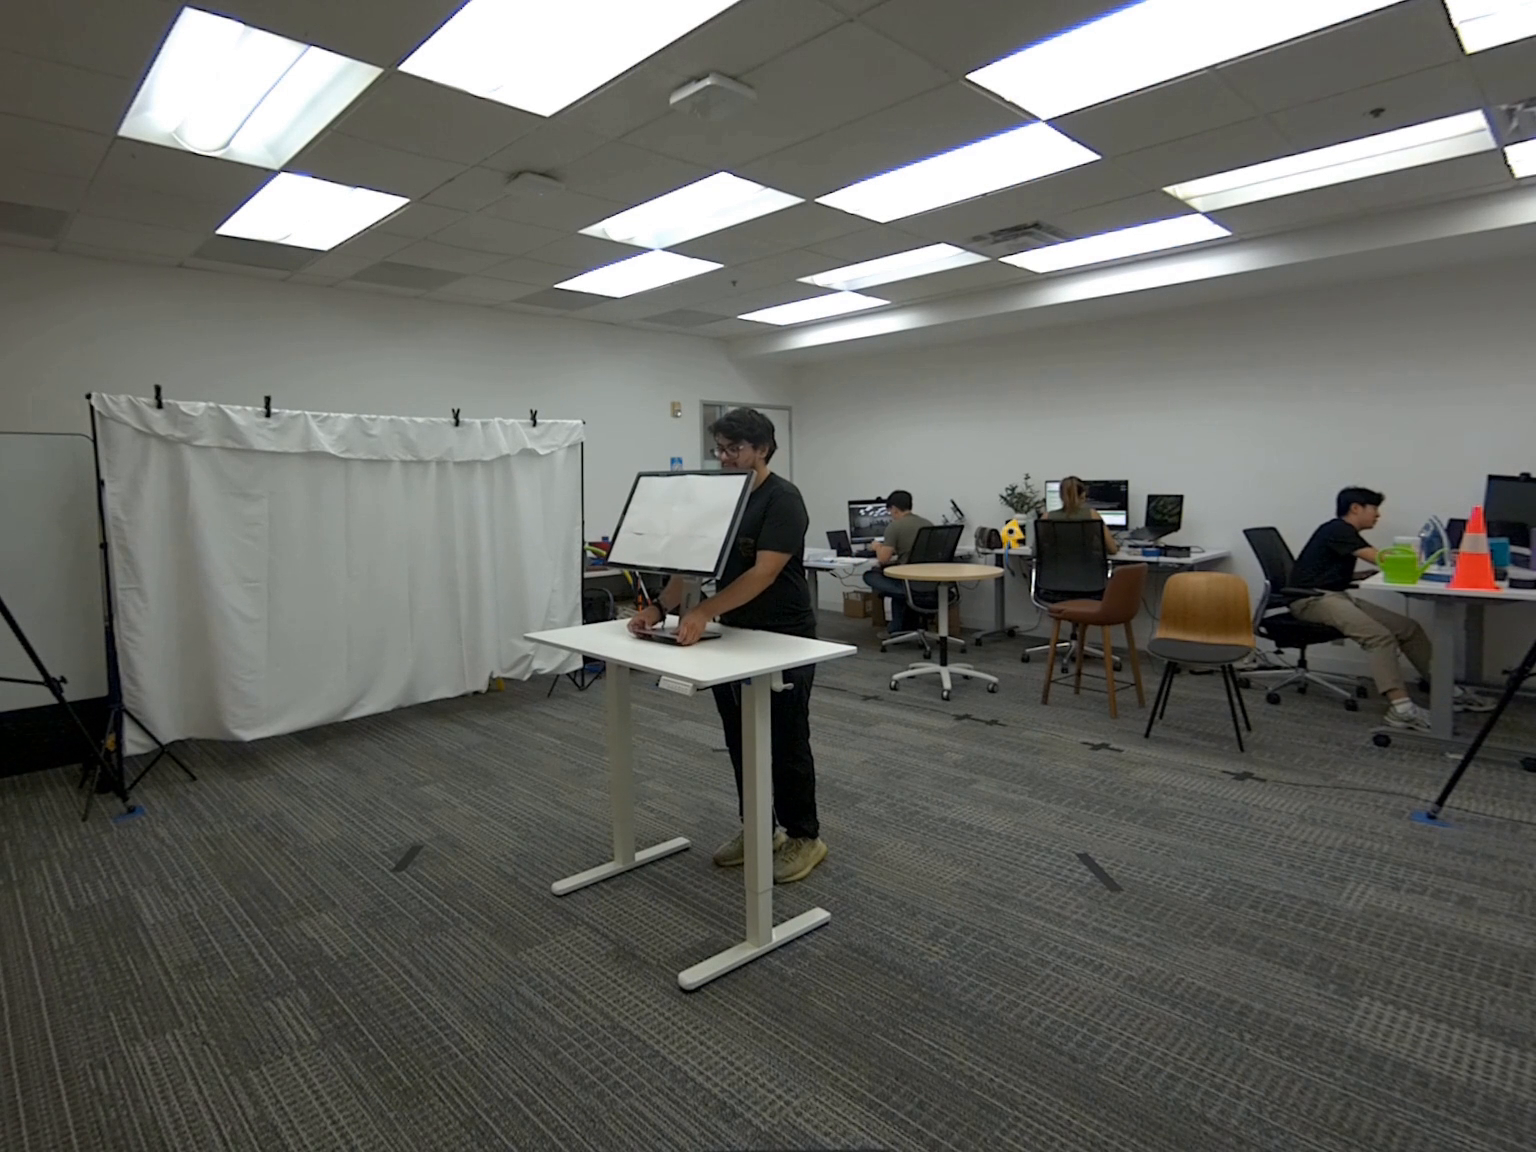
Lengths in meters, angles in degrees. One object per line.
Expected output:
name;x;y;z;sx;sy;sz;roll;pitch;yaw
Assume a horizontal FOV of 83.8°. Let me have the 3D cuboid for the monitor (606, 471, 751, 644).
monitor;-0.269;-0.071;2.820;0.583;0.558;0.202;4;-14;42
